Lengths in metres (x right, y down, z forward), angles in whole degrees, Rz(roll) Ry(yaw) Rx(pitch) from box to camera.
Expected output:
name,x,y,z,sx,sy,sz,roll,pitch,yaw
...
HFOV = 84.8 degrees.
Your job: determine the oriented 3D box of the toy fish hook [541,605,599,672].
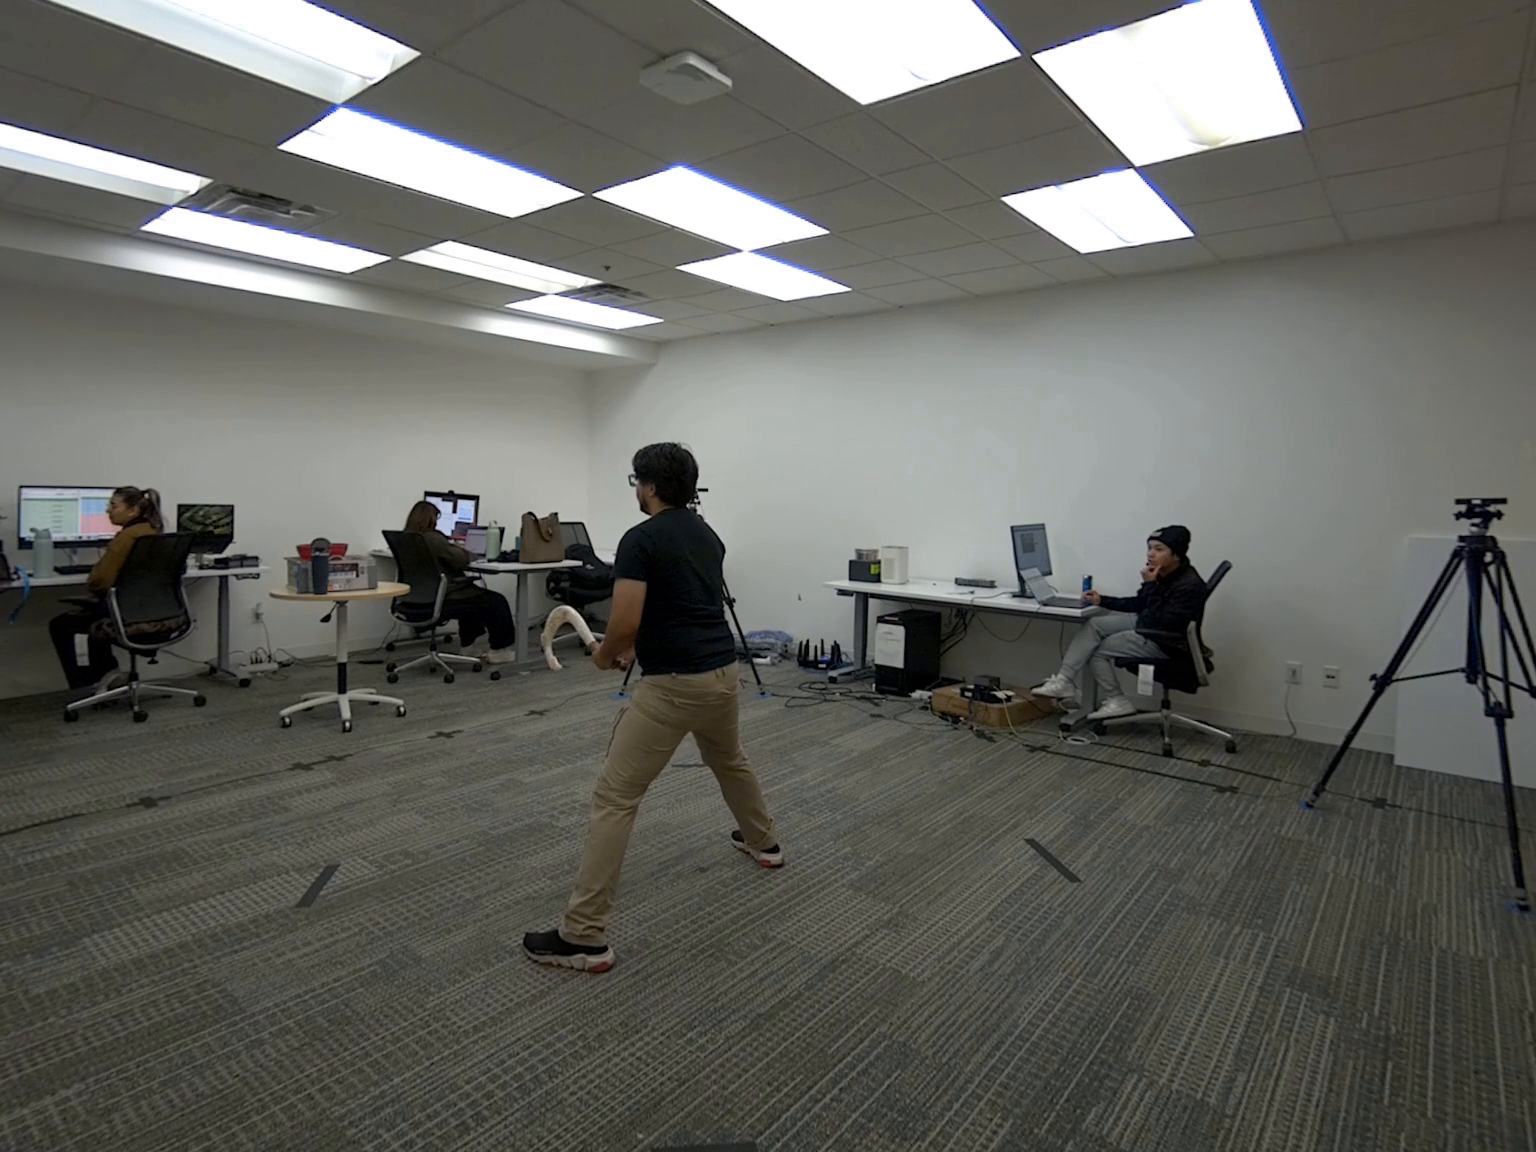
name,x,y,z,sx,sy,sz,roll,pitch,yaw
toy fish hook,-0.682,0.278,3.054,0.046,0.224,0.528,15,10,-45
